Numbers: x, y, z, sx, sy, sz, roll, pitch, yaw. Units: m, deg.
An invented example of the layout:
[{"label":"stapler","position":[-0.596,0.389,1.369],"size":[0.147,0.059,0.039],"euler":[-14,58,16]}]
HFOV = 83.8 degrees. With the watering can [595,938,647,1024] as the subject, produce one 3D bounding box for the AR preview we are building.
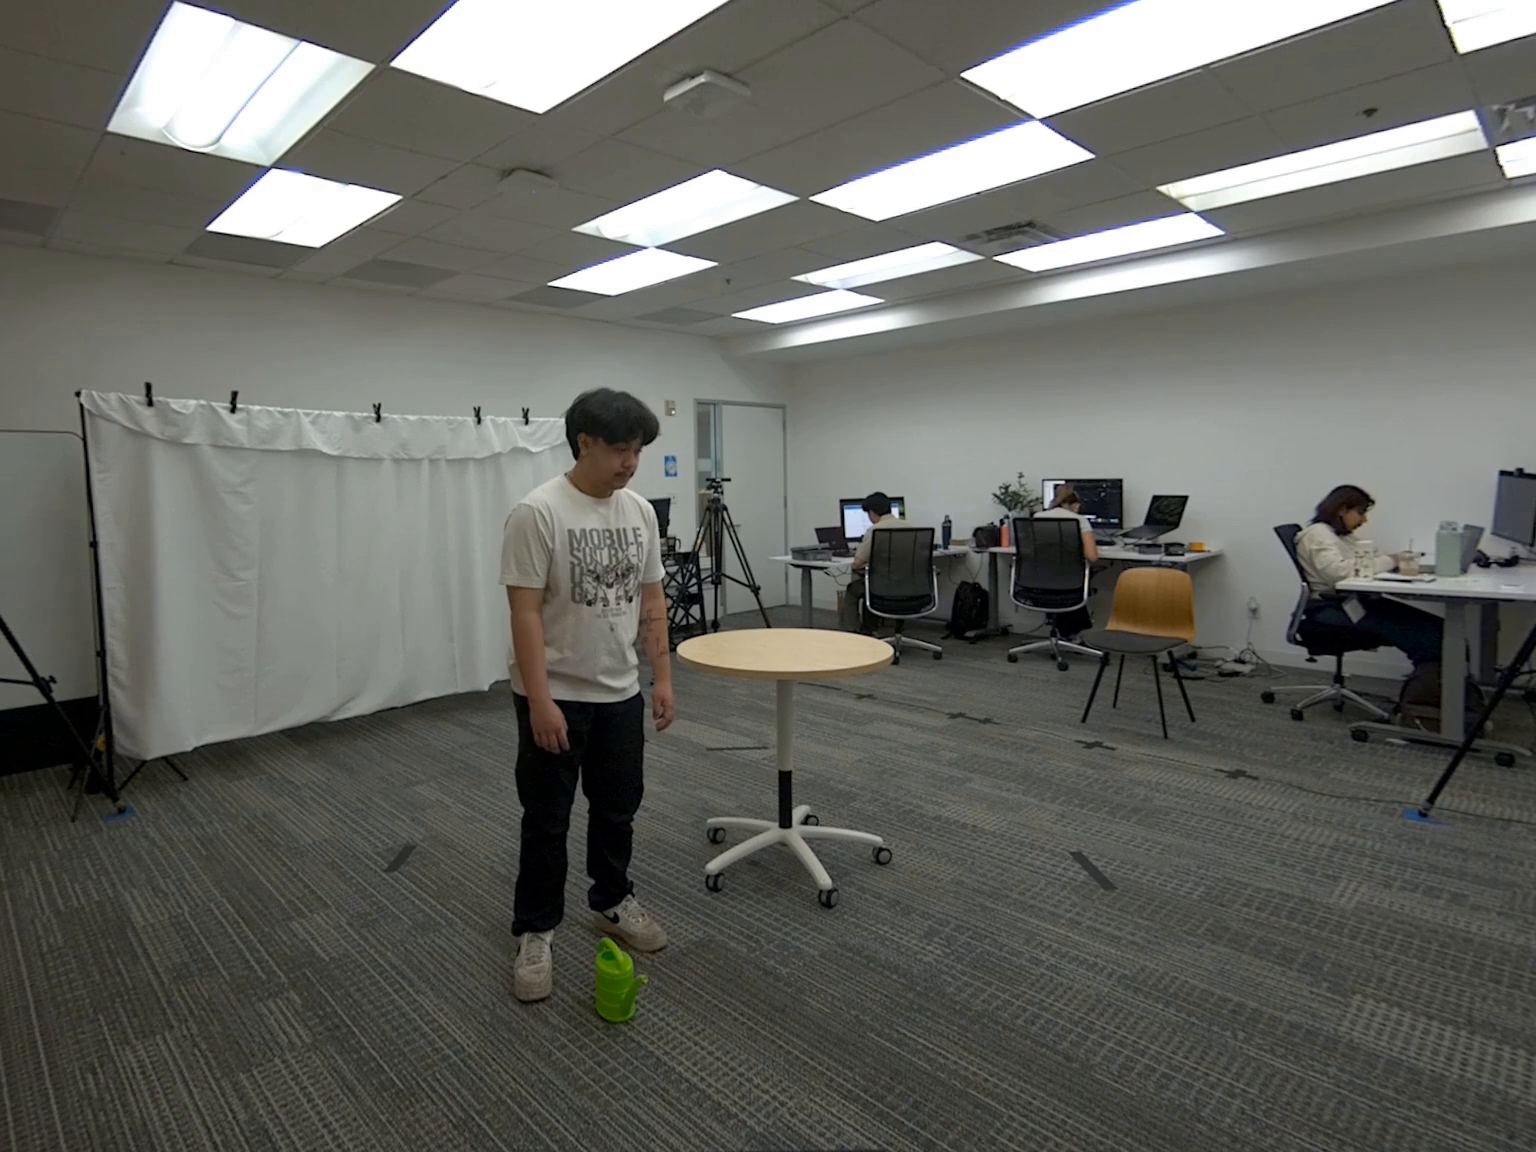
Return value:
[{"label":"watering can","position":[-0.385,1.068,2.209],"size":[0.096,0.176,0.283],"euler":[-3,4,-19]}]
